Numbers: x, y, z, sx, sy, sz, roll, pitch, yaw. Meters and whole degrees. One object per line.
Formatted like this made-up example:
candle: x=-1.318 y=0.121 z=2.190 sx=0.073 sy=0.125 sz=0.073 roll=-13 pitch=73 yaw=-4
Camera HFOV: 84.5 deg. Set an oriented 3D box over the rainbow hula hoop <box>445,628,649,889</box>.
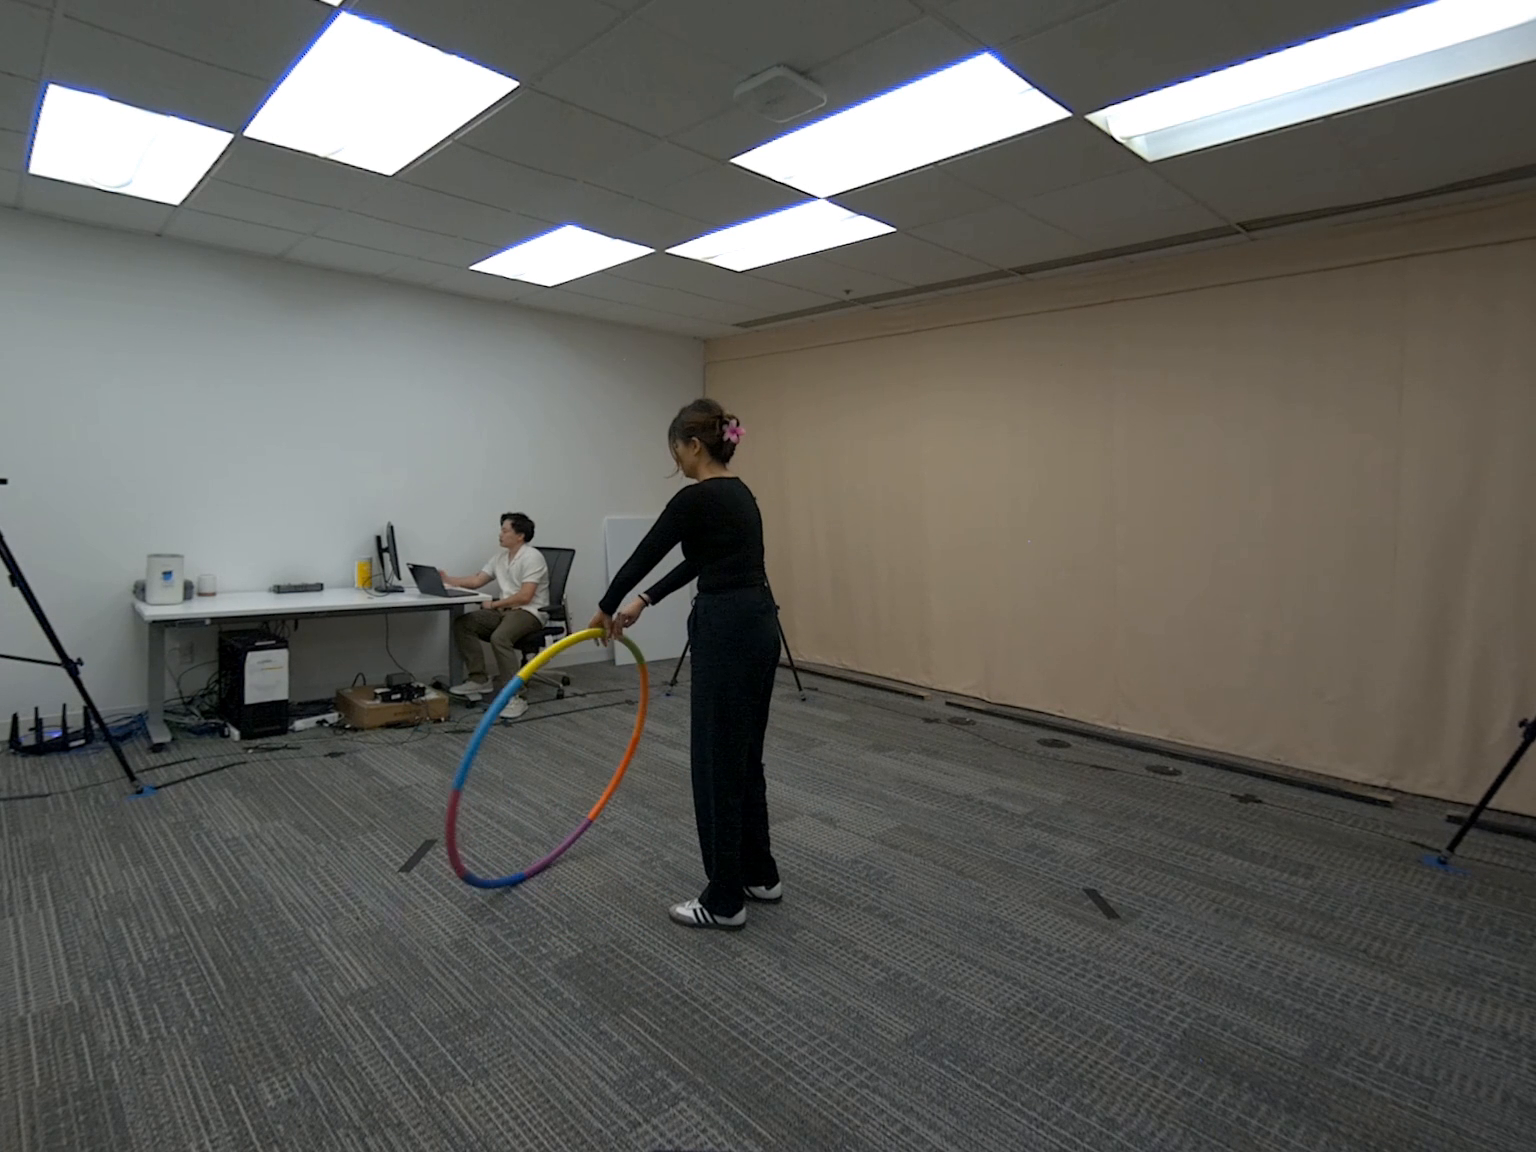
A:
rainbow hula hoop: x=-0.746 y=0.640 z=2.971 sx=0.036 sy=0.973 sz=0.961 roll=23 pitch=13 yaw=23
